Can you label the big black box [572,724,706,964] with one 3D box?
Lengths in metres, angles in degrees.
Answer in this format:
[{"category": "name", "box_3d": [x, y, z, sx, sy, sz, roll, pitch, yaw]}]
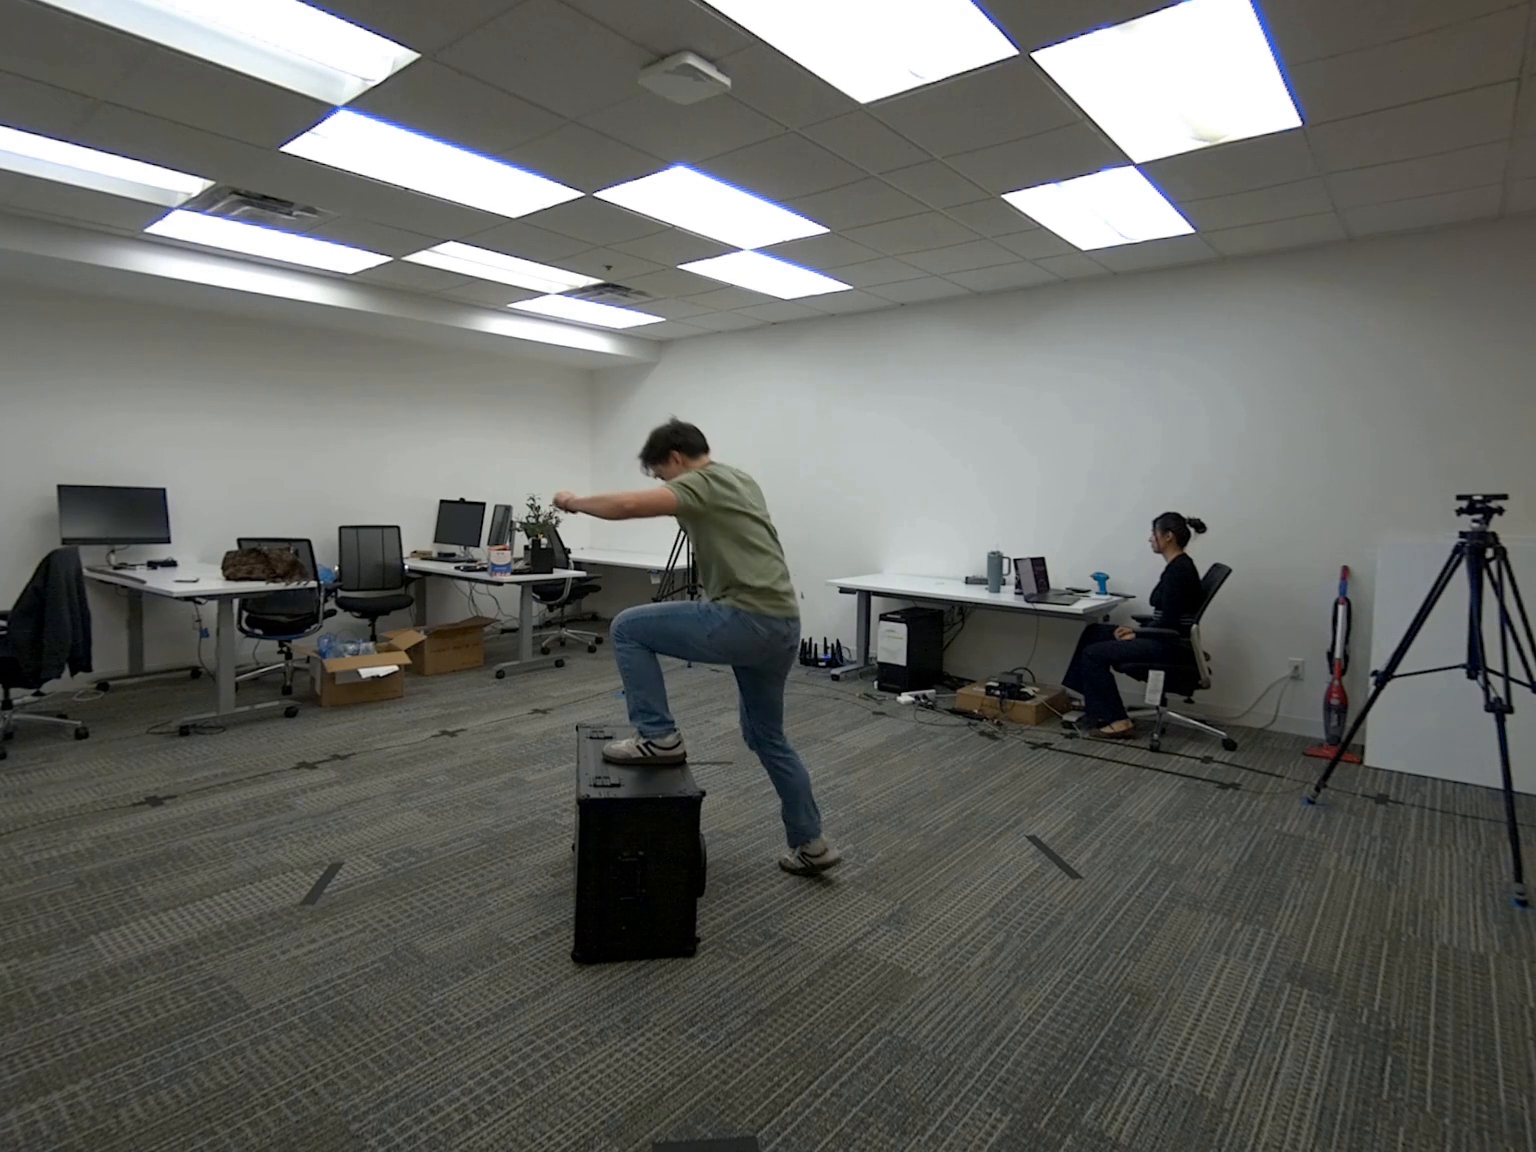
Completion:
[{"category": "big black box", "box_3d": [-0.467, 0.832, 2.884, 0.391, 0.520, 0.876, 2, 4, -13]}]
